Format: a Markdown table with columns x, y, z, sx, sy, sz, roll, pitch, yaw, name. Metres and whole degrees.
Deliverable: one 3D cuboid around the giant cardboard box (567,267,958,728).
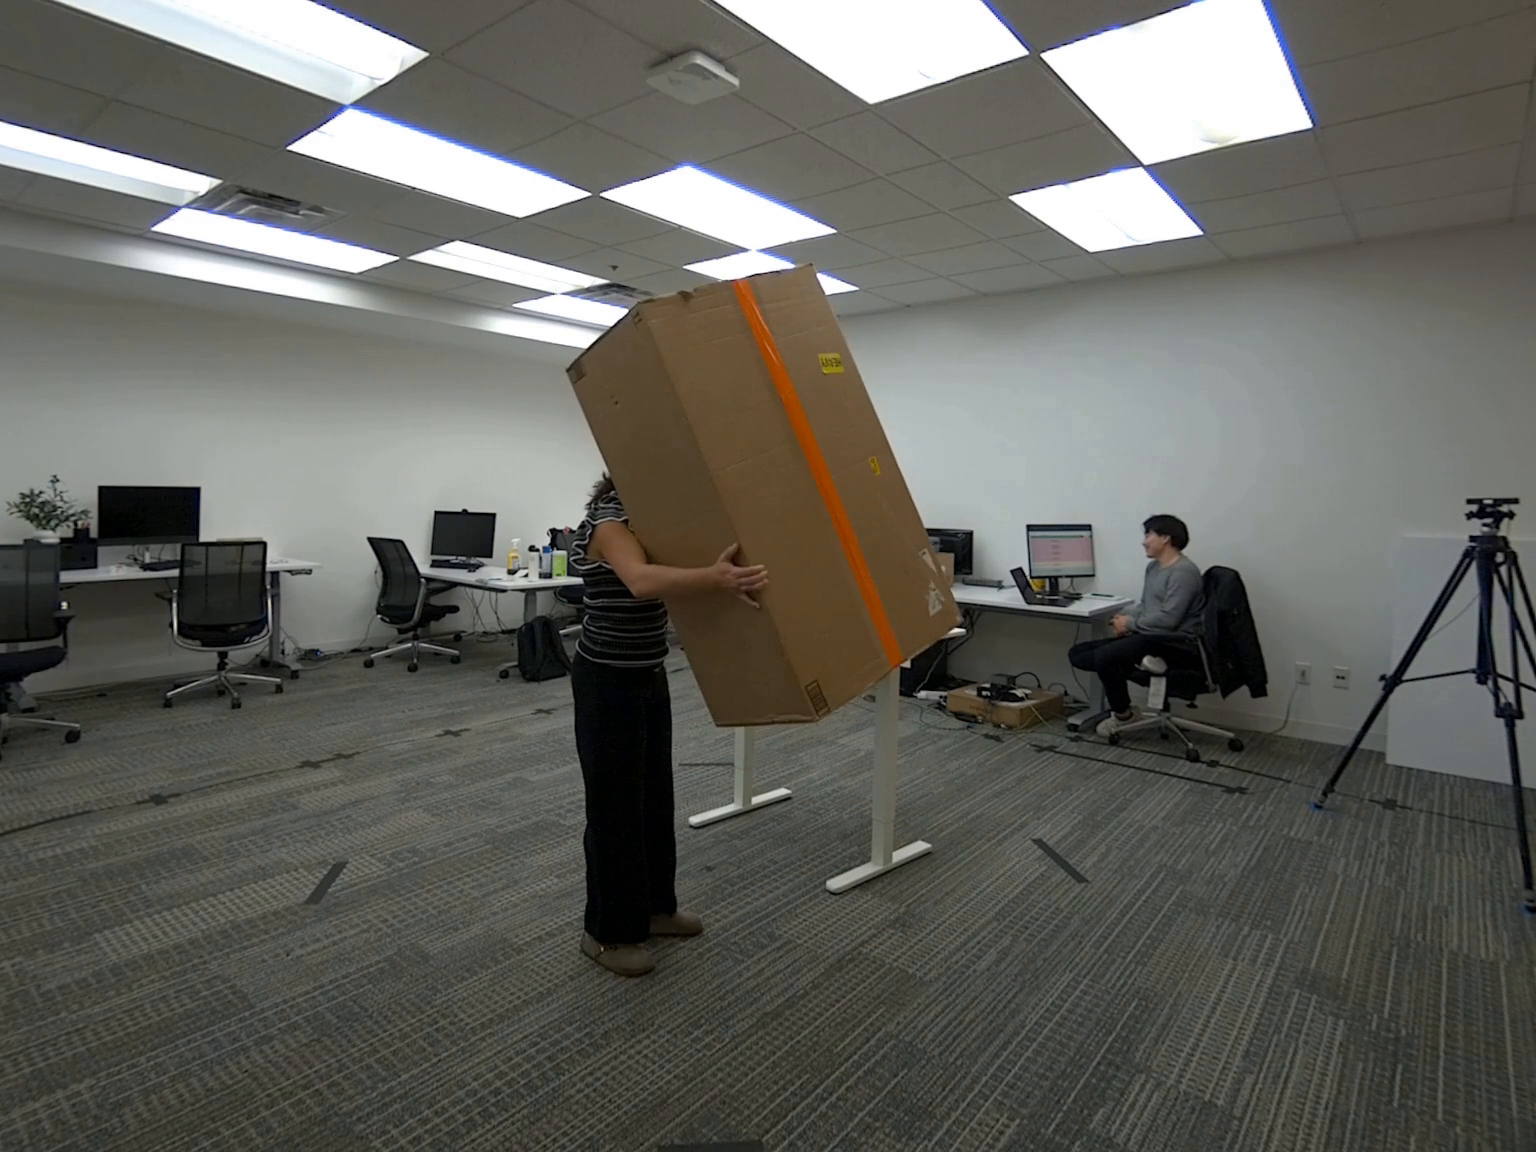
| x | y | z | sx | sy | sz | roll | pitch | yaw | name |
| --- | --- | --- | --- | --- | --- | --- | --- | --- | --- |
| -0.019 | -0.199 | 2.224 | 0.568 | 1.024 | 0.434 | -25 | 3 | -37 | giant cardboard box |
